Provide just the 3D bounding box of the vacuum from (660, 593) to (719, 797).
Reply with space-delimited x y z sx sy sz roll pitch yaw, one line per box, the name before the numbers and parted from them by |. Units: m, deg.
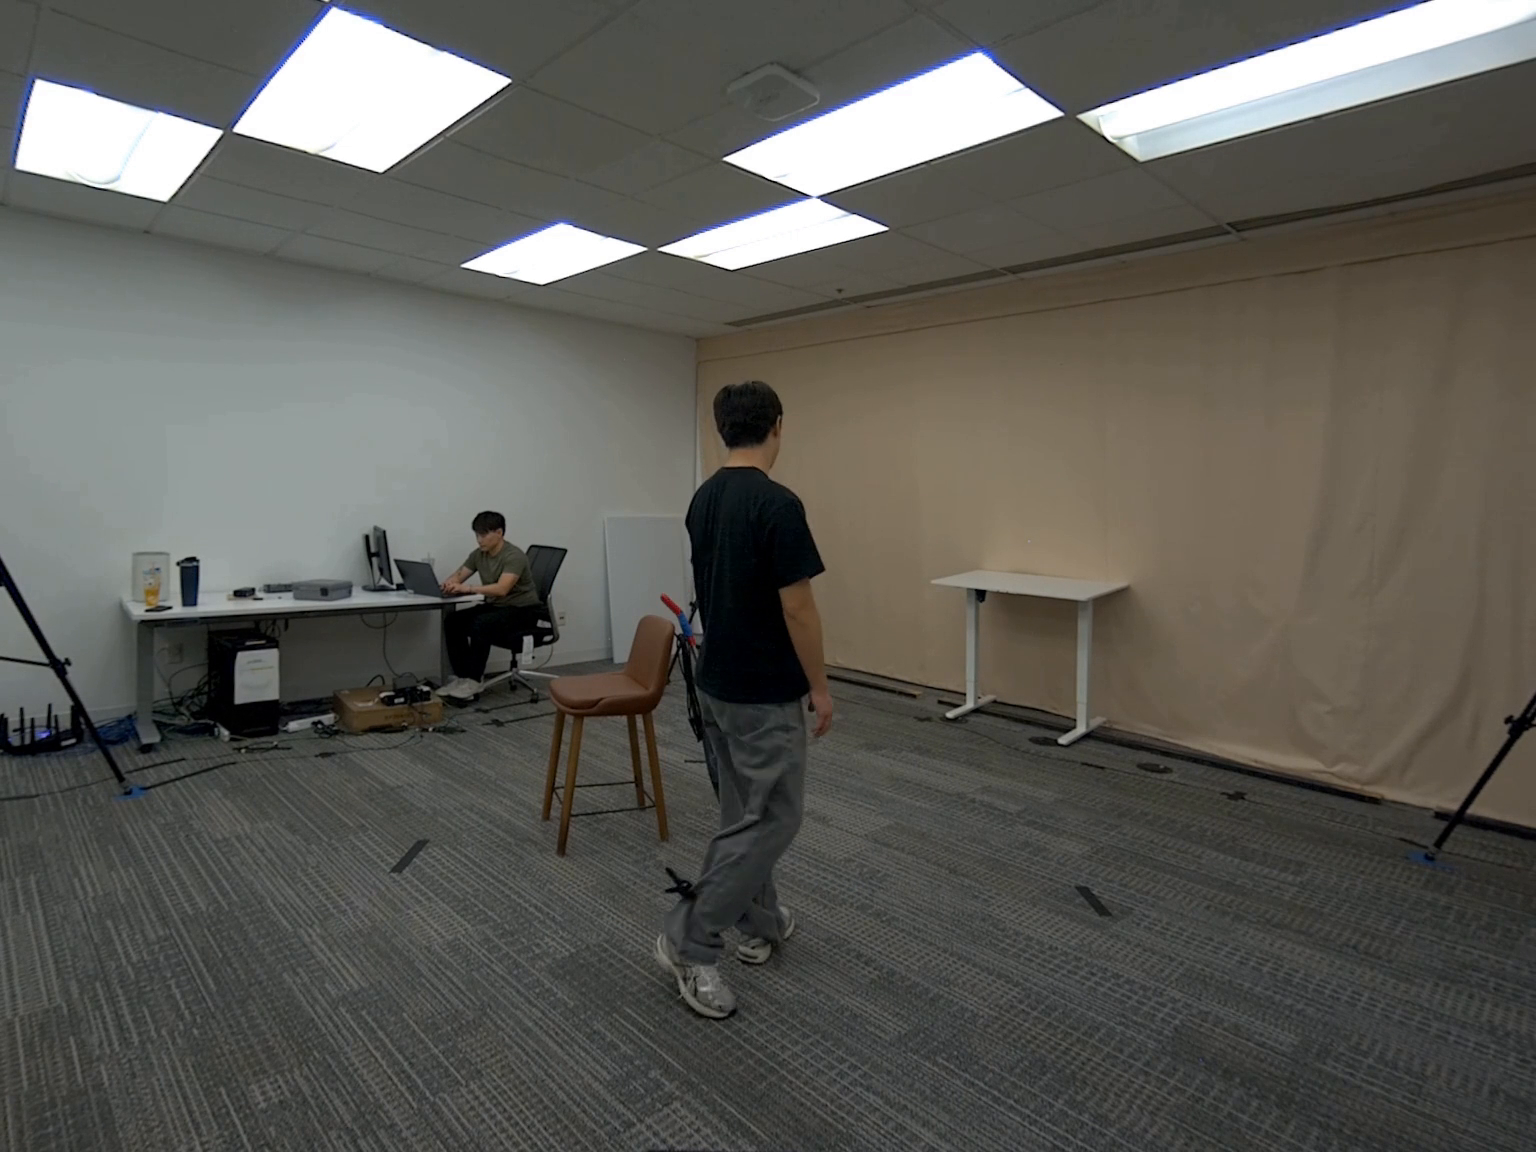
vacuum | -0.260 0.576 3.439 0.144 1.048 0.252 -18 2 4
